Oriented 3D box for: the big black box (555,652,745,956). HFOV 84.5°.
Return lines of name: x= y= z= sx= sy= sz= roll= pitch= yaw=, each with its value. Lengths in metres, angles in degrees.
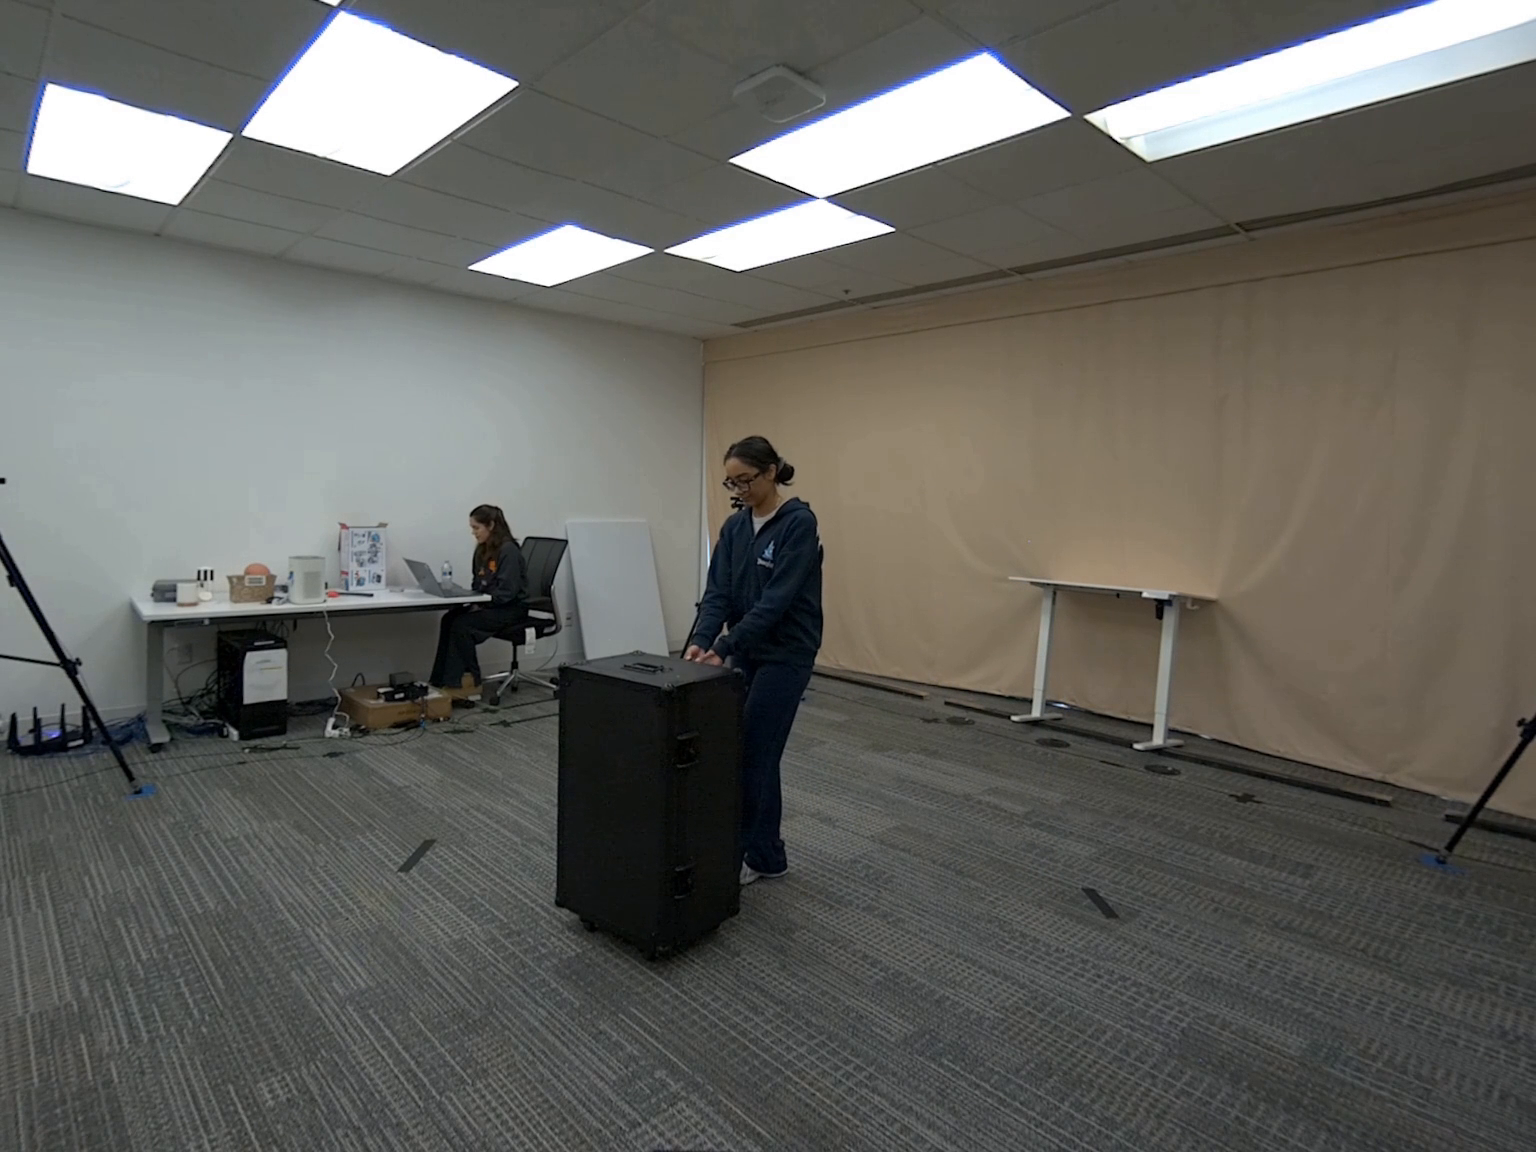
big black box: x=-0.376 y=0.723 z=2.676 sx=0.405 sy=0.860 sz=0.510 roll=3 pitch=3 yaw=35
